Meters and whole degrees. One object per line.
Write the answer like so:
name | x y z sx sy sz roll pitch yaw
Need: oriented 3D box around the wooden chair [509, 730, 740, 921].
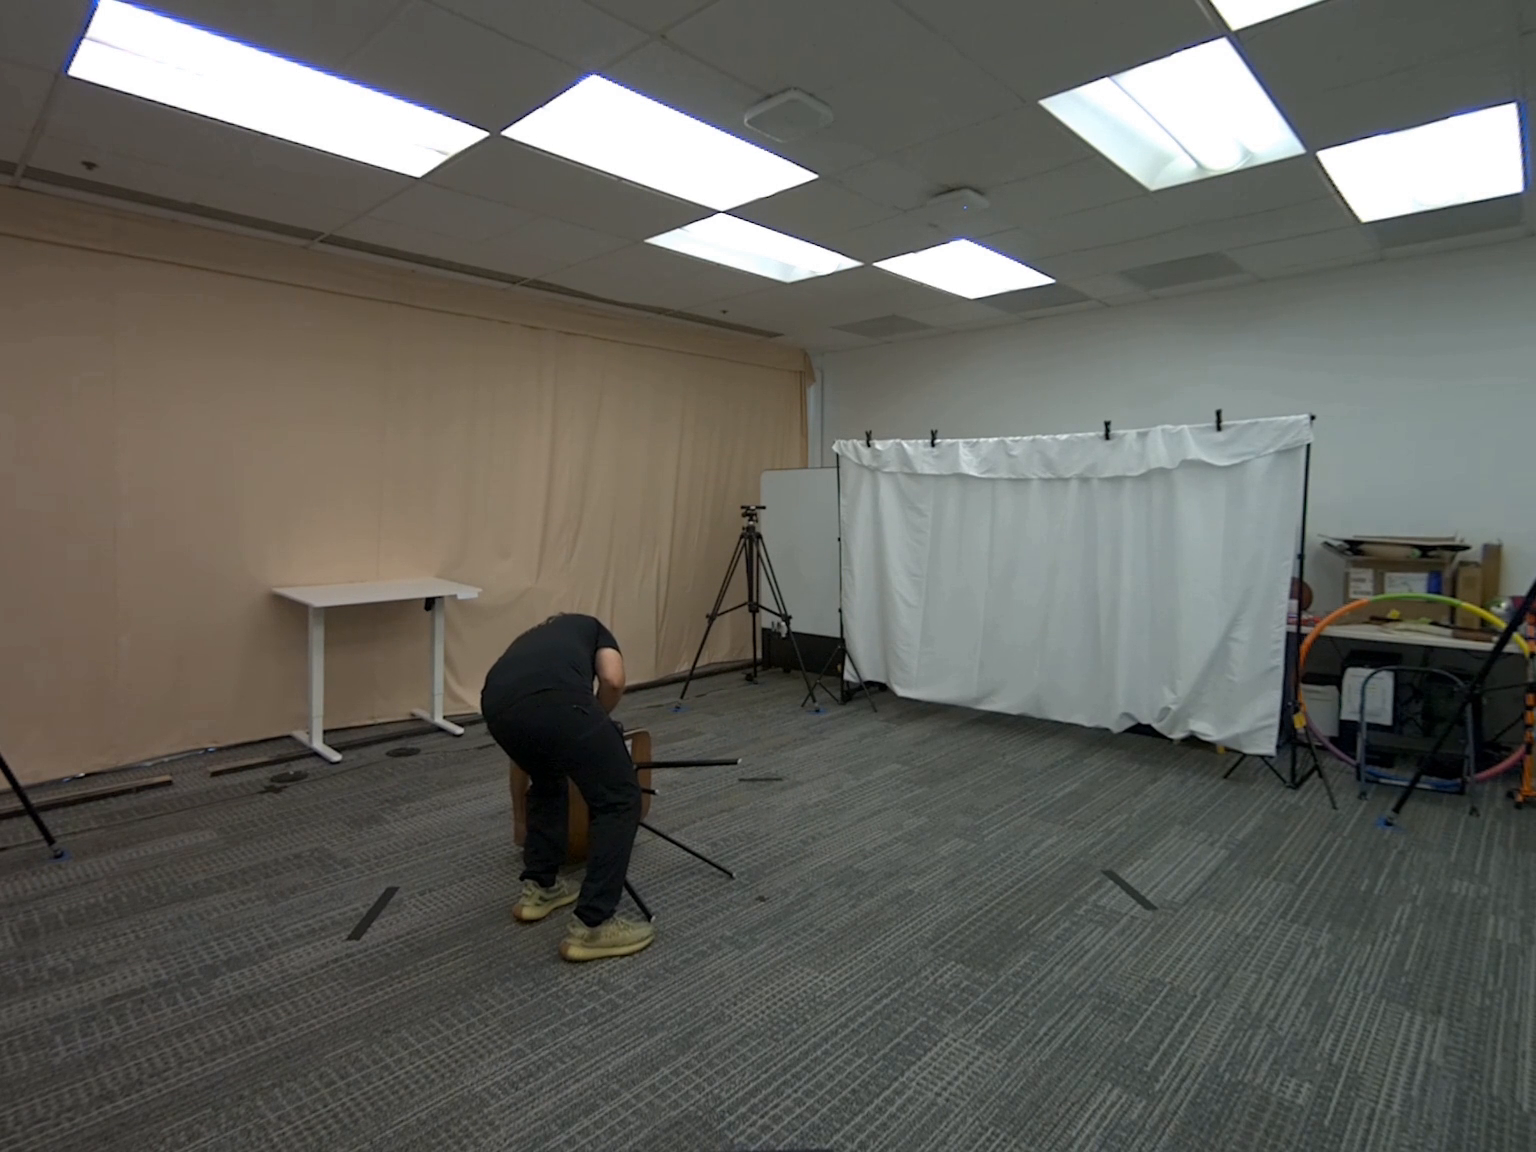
wooden chair | -0.581 0.868 3.243 0.905 0.522 0.464 0 3 39
